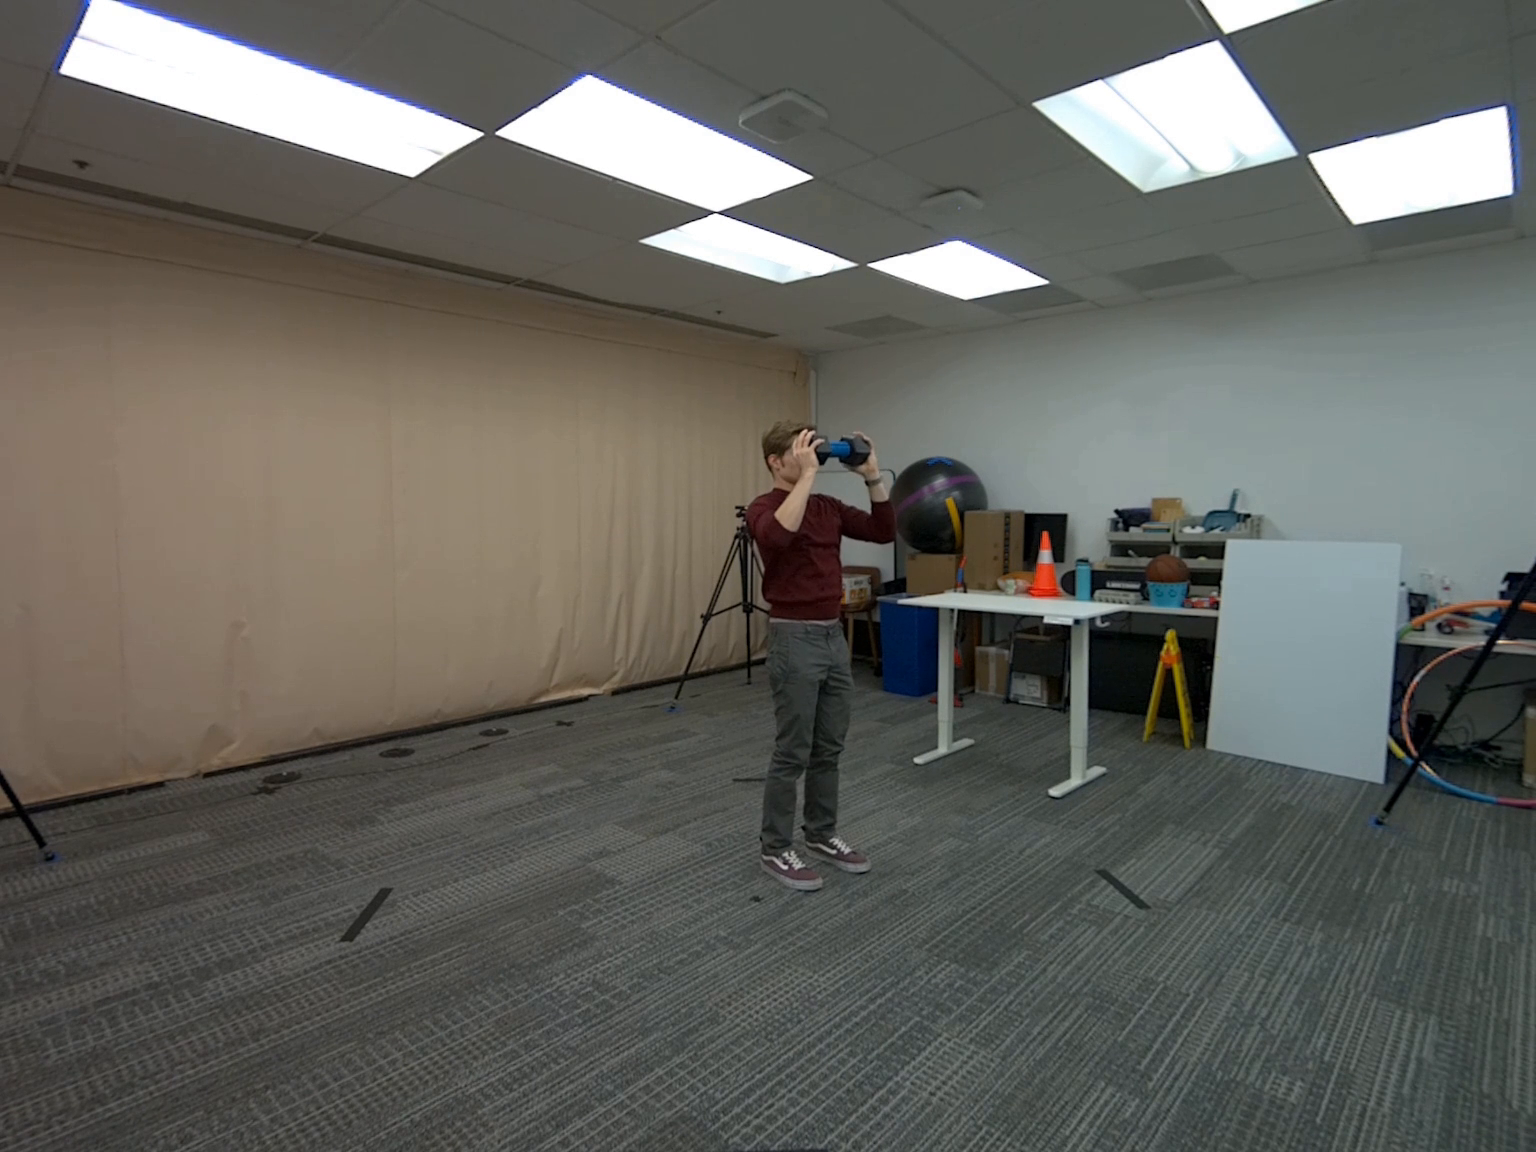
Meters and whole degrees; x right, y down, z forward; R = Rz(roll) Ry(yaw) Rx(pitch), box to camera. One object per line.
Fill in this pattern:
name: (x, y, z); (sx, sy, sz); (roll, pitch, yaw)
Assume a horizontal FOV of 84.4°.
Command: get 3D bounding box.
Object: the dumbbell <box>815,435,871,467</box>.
dumbbell: (0.233, -0.457, 3.060); (0.285, 0.124, 0.110); (-8, -13, -37)
